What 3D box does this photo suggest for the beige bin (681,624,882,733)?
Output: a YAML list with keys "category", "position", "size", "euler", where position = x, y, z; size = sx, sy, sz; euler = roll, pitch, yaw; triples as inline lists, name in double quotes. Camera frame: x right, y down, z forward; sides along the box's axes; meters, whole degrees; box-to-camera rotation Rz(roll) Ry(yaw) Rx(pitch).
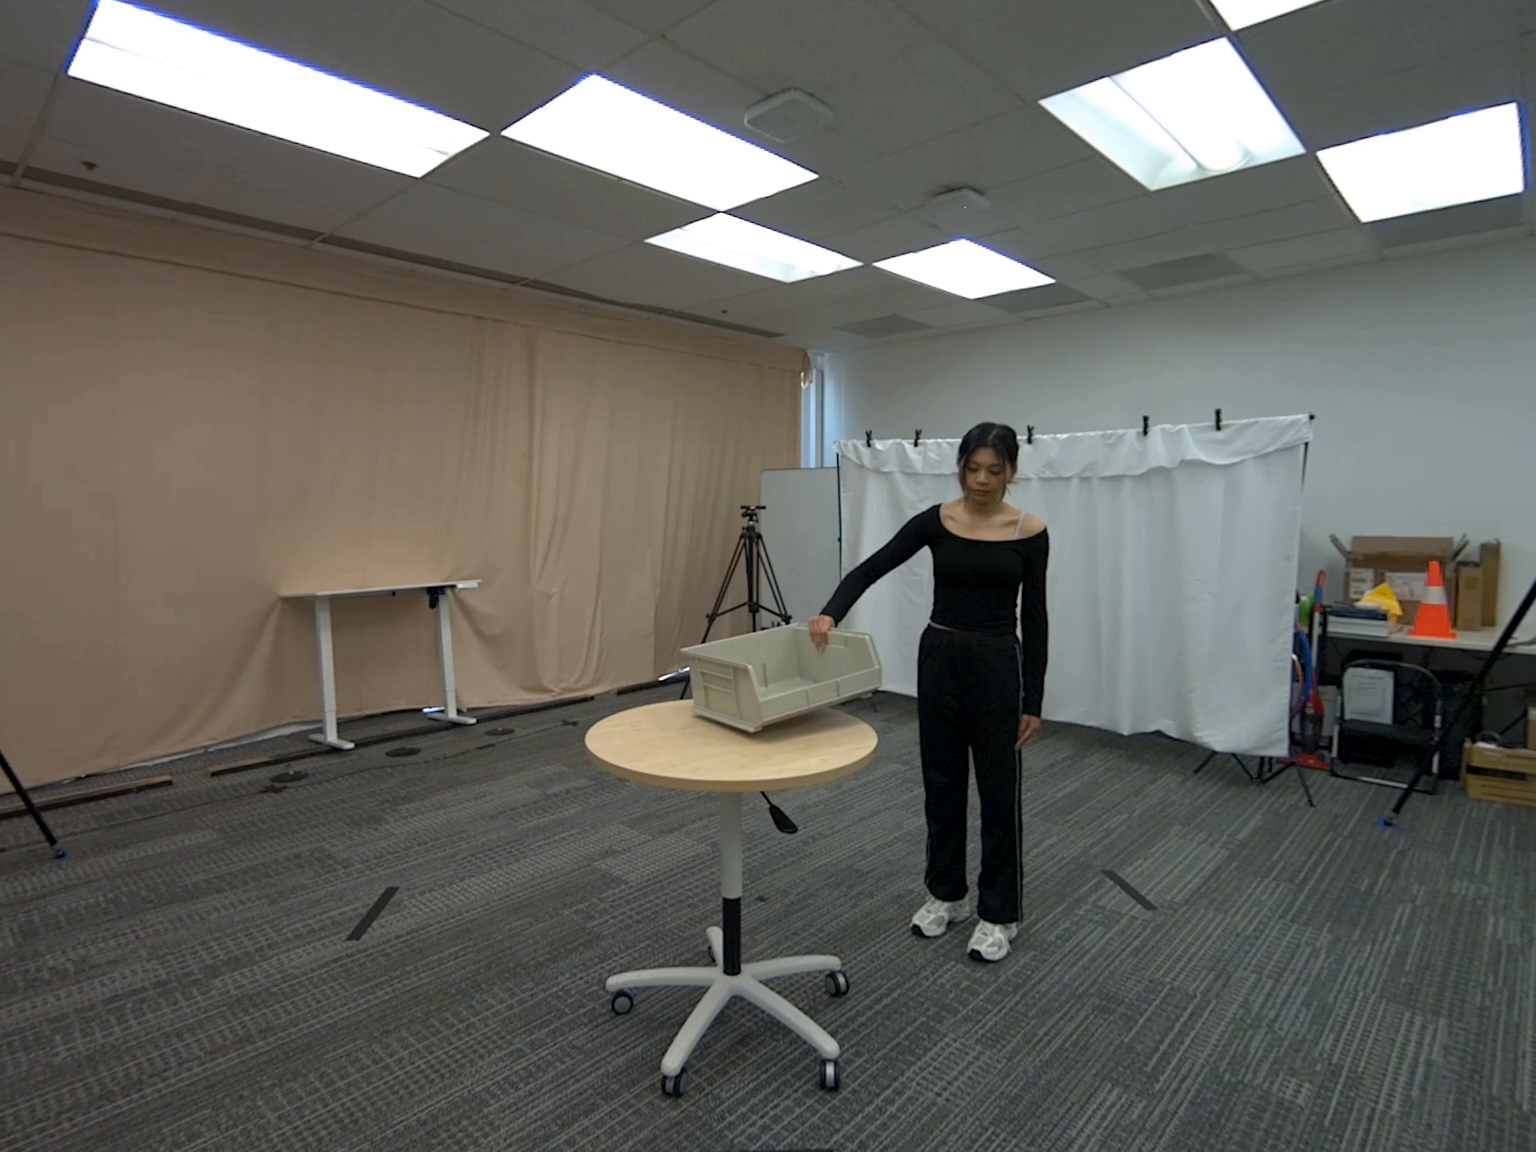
- category: "beige bin"
  position: [0.046, 0.274, 2.355]
  size: [0.412, 0.188, 0.388]
  euler: [-11, 7, -33]
